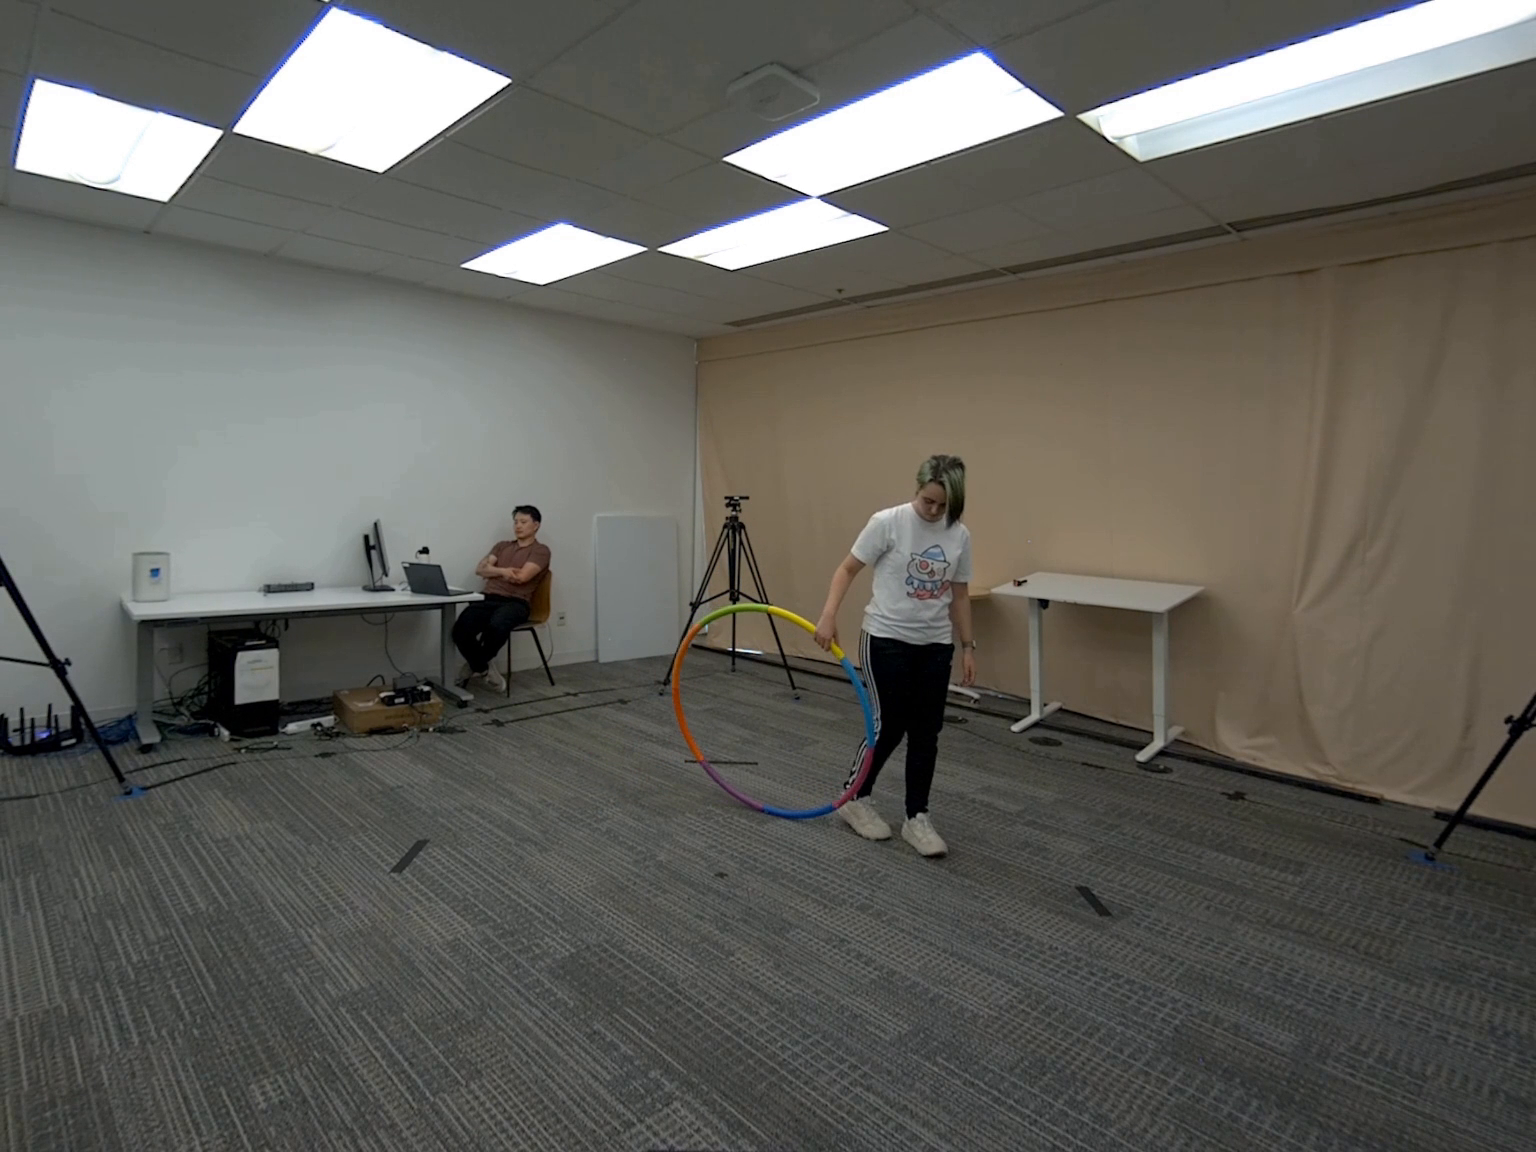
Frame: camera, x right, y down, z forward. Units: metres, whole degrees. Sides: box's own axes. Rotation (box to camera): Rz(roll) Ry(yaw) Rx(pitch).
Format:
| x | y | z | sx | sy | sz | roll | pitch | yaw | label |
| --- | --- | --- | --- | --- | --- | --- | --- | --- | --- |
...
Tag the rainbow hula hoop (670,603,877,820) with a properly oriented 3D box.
| x | y | z | sx | sy | sz | roll | pitch | yaw | label |
| --- | --- | --- | --- | --- | --- | --- | --- | --- | --- |
| -0.012 | 0.588 | 3.615 | 1.001 | 0.968 | 0.035 | 4 | 16 | 31 | rainbow hula hoop |
